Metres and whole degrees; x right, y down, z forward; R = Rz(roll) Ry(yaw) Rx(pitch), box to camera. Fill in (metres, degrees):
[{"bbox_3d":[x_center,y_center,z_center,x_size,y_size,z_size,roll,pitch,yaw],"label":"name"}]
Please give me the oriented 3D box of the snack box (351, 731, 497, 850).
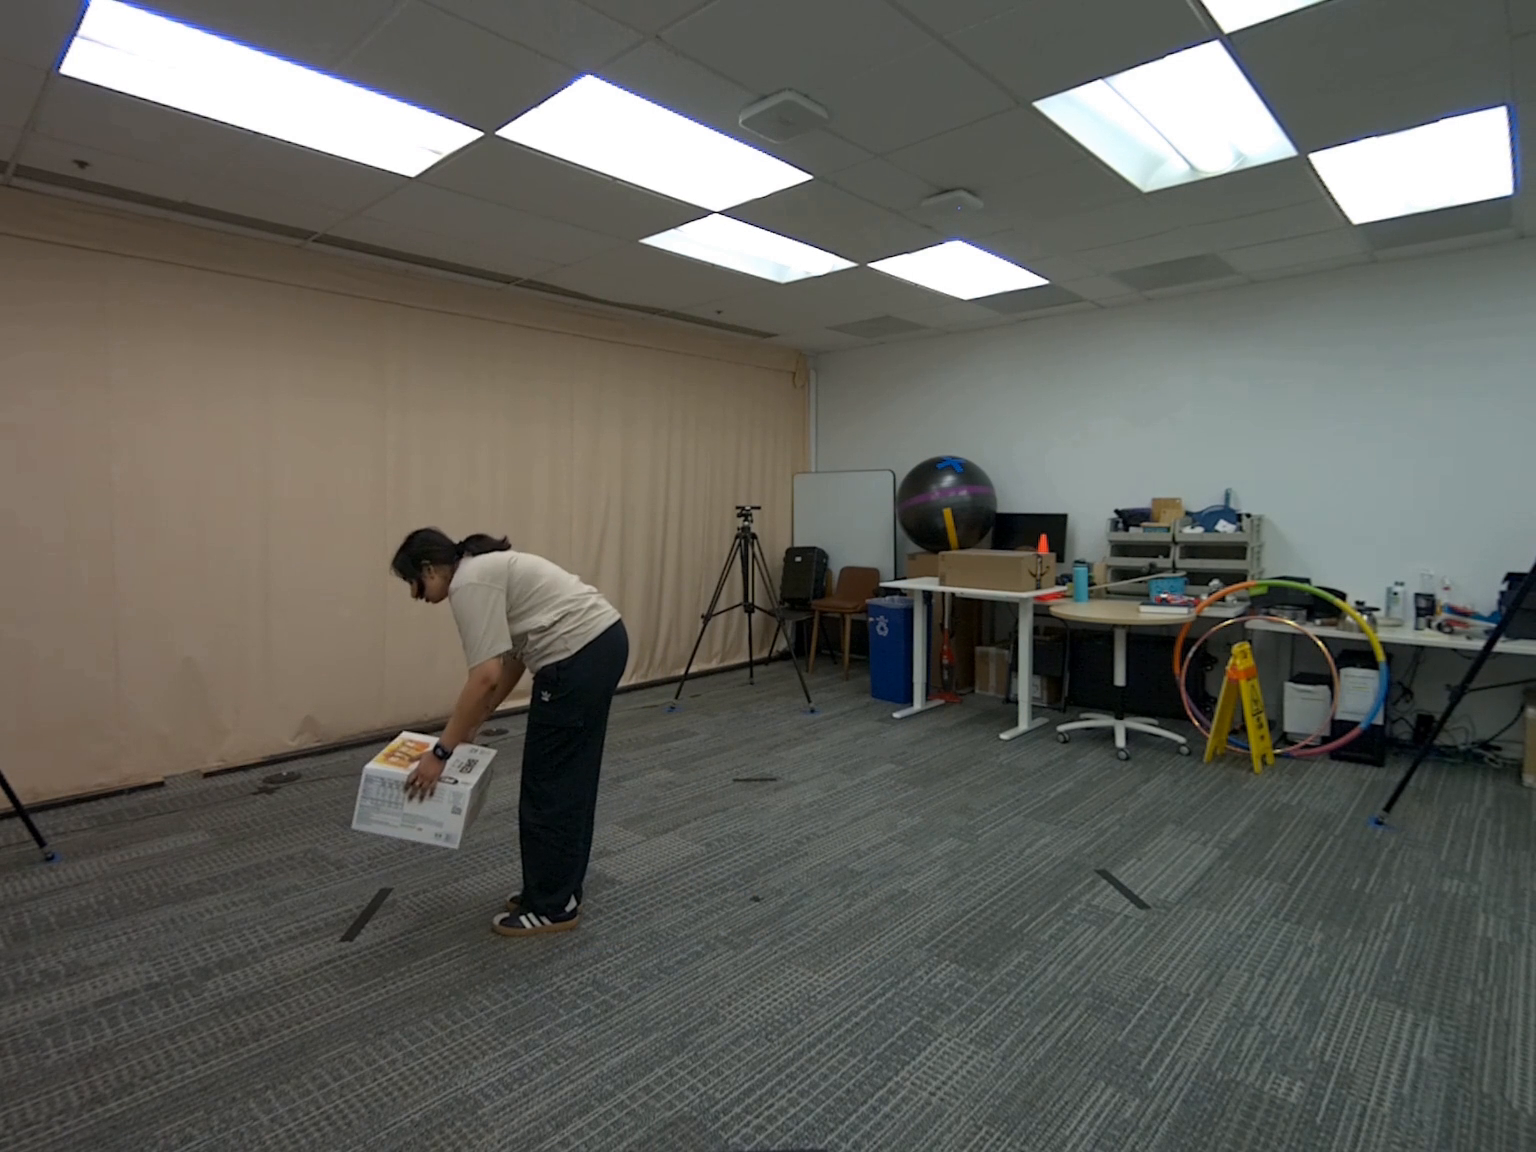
[{"bbox_3d":[-1.135,0.708,2.819,0.338,0.205,0.408,12,4,-6],"label":"snack box"}]
